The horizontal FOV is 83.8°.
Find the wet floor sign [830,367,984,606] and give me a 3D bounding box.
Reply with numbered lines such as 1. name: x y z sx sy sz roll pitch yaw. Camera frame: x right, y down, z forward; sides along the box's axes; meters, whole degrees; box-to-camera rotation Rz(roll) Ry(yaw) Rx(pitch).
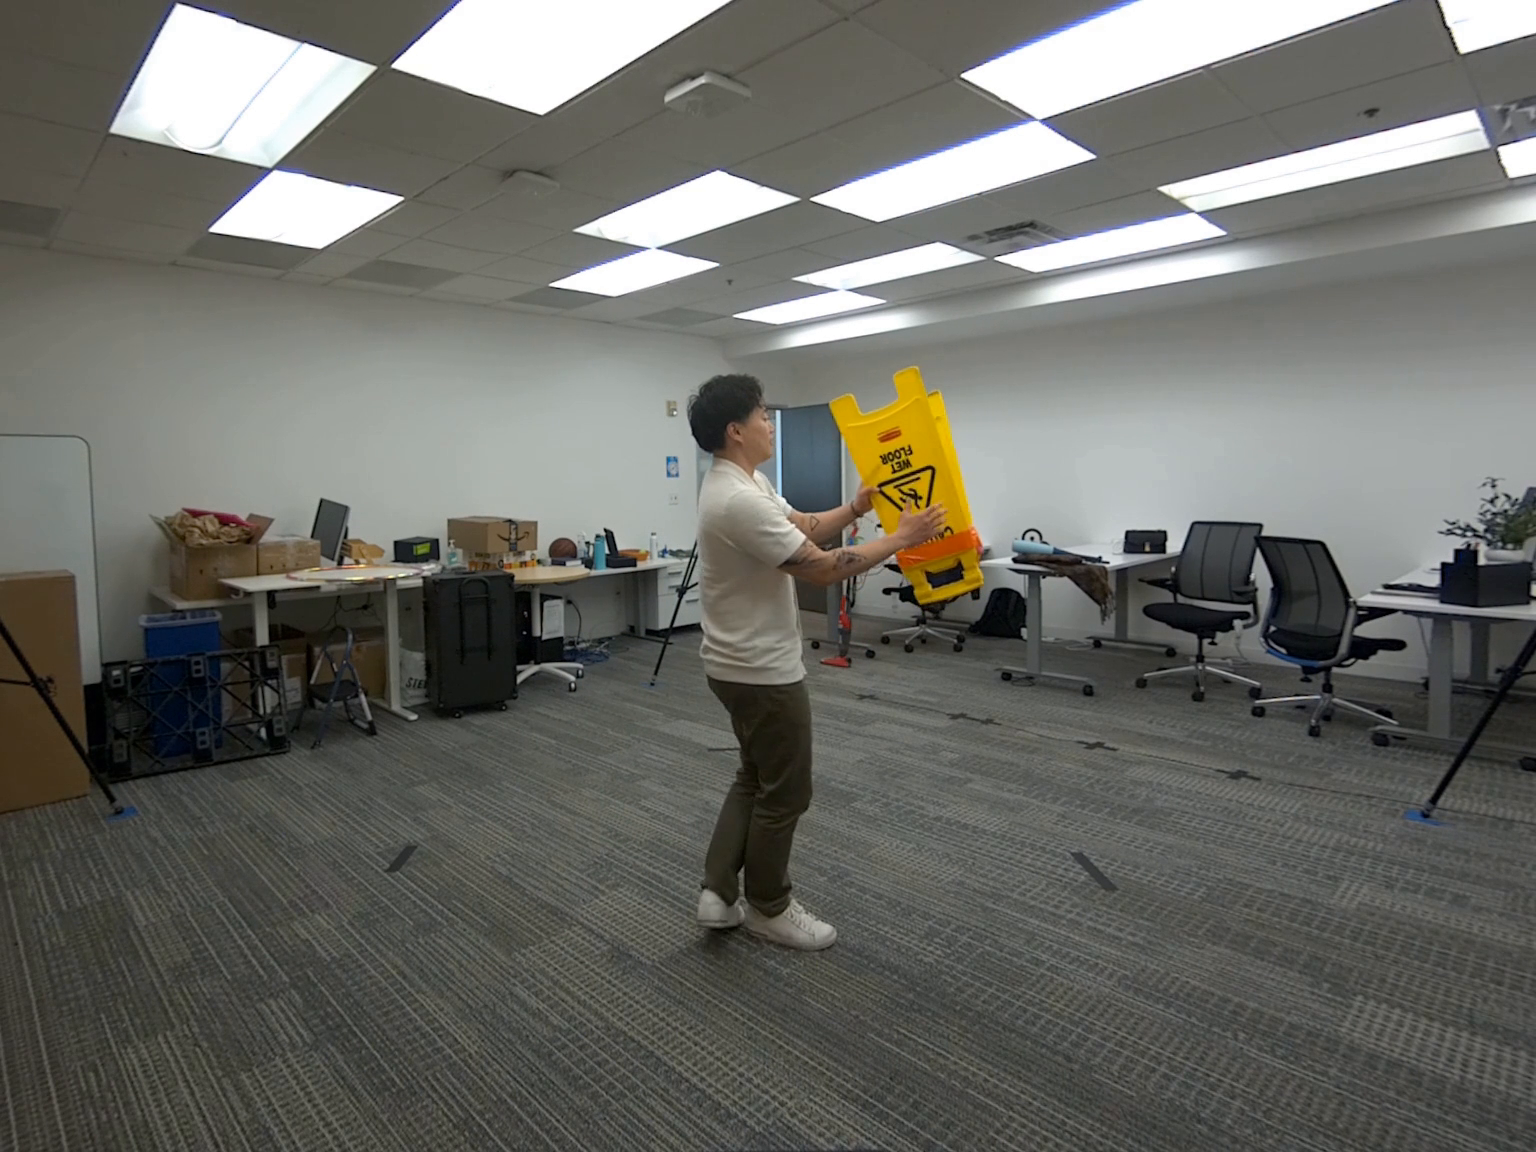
1. wet floor sign: 0.446 -0.241 2.550 0.286 0.656 0.282 -21 -14 24
